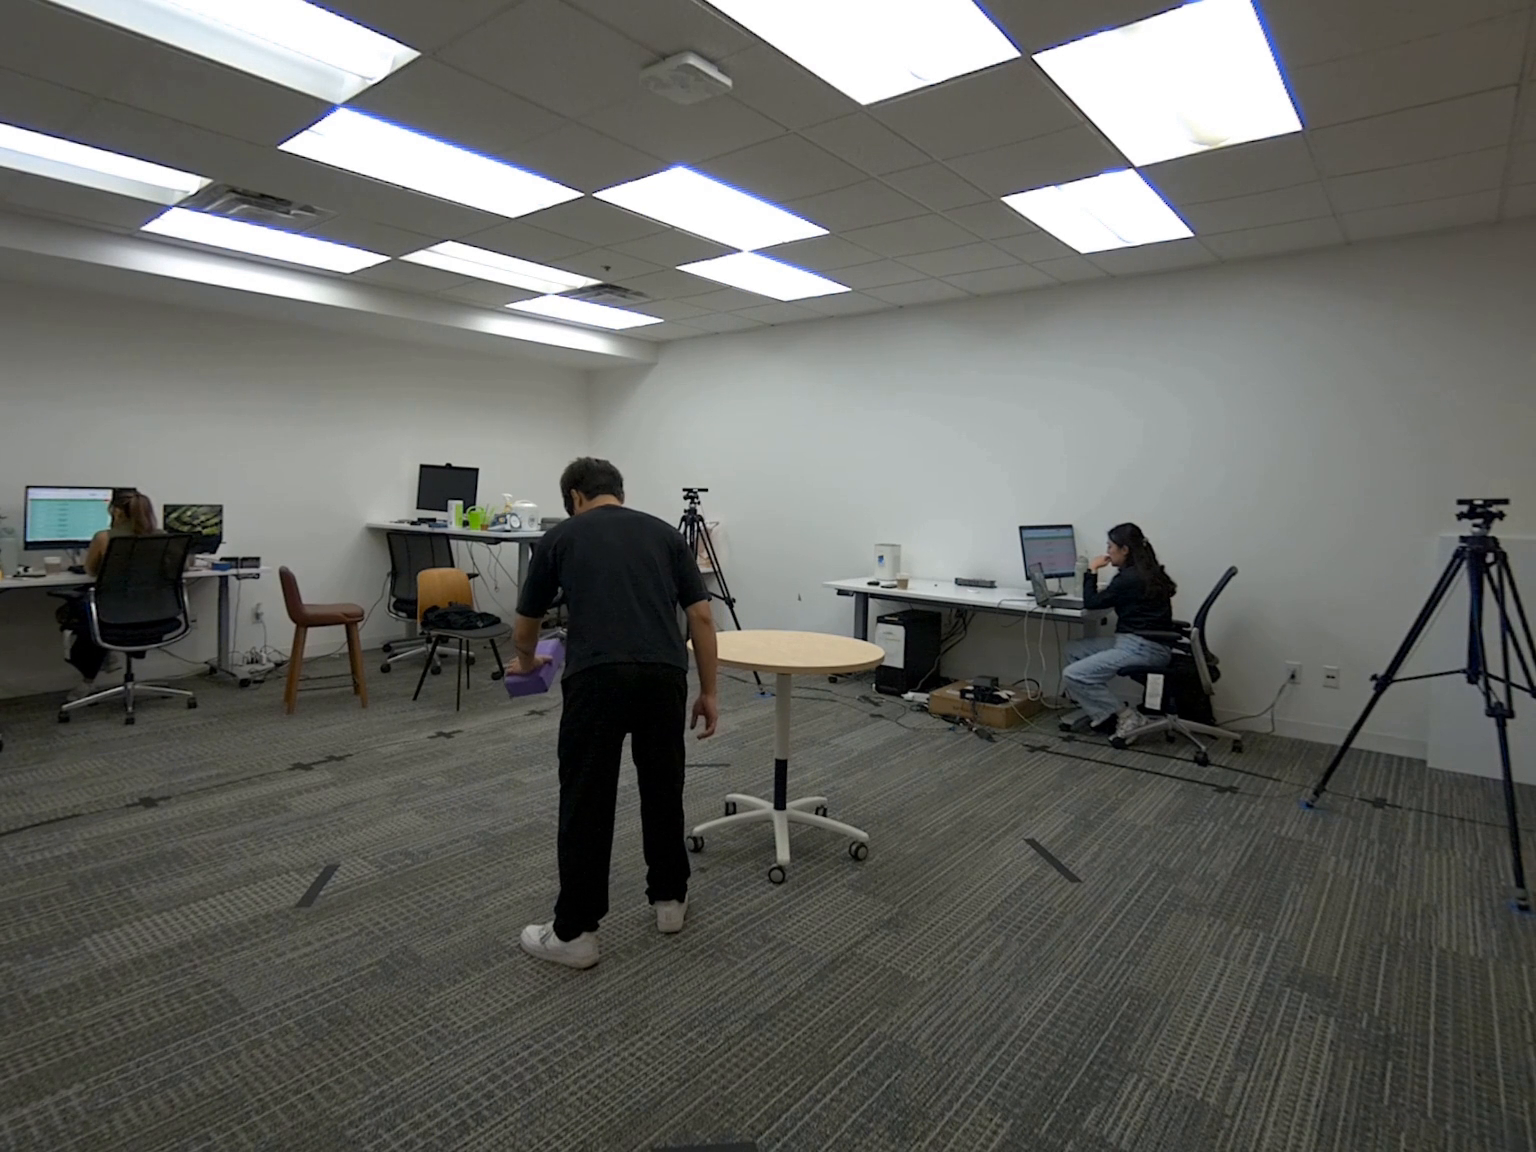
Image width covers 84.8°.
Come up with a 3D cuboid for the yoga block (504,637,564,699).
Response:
[{"bbox_3d":[-0.835,0.324,2.997,0.150,0.074,0.235,-13,31,9],"label":"yoga block"}]
